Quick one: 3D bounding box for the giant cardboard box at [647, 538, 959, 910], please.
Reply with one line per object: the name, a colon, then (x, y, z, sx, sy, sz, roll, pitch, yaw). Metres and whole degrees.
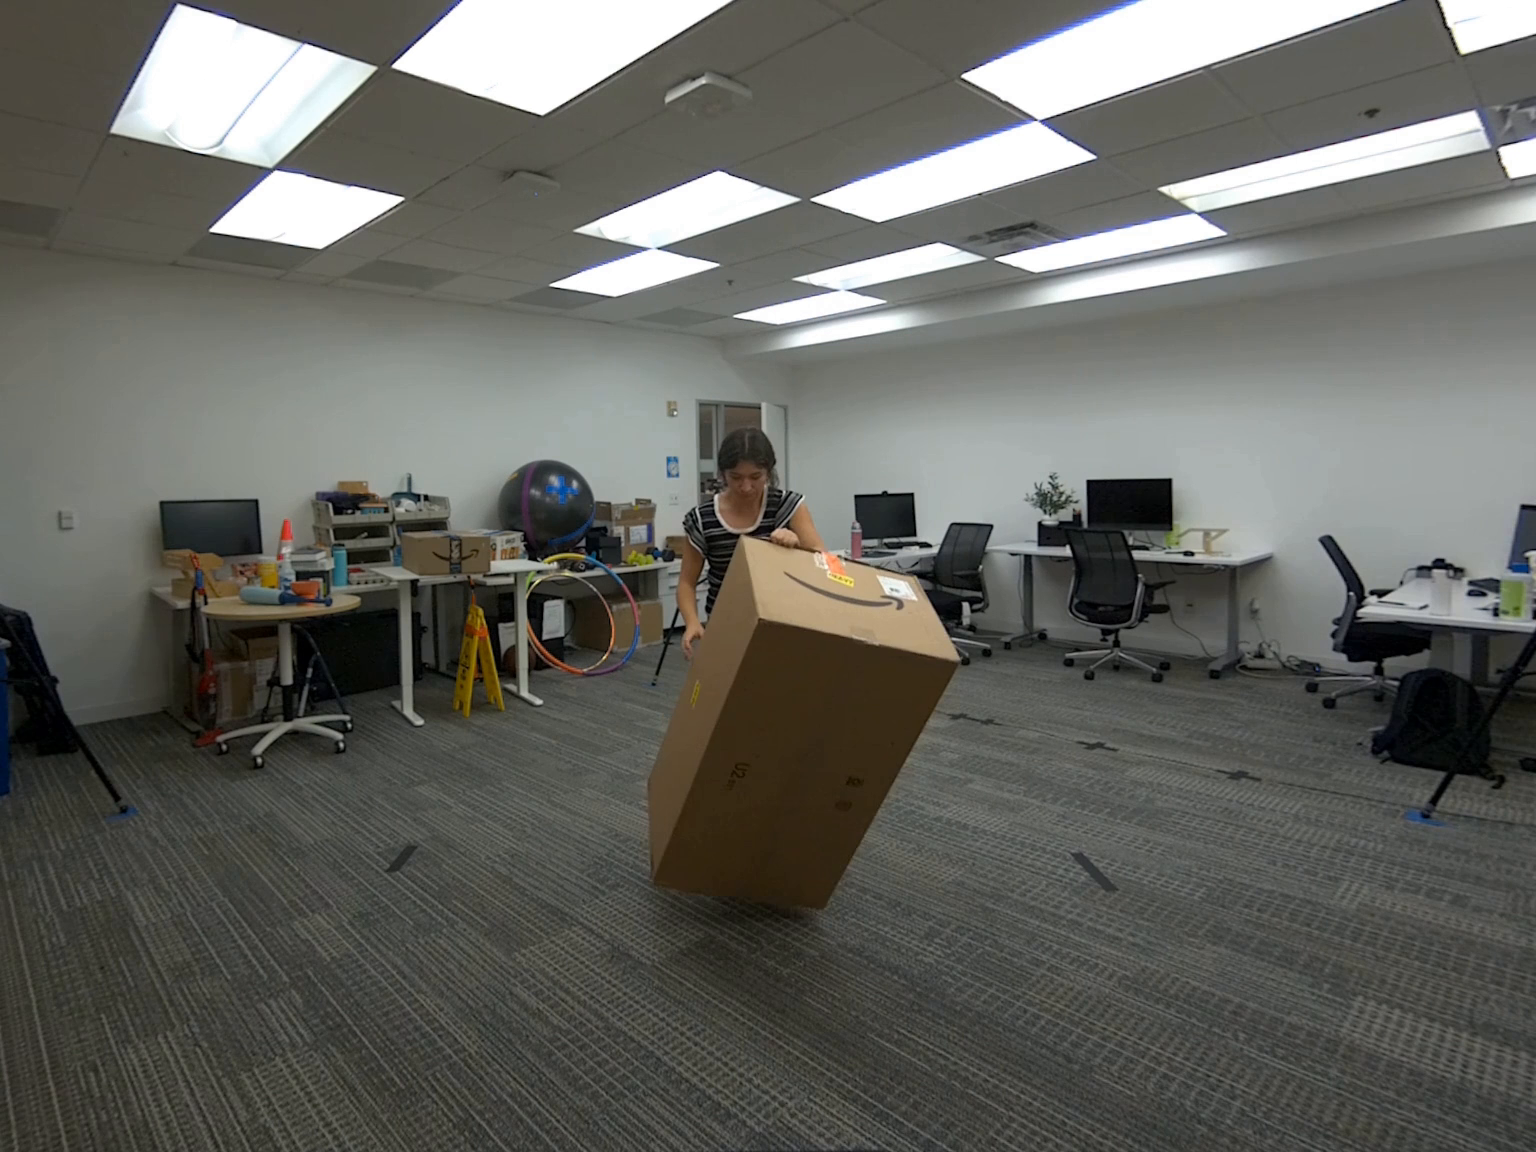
giant cardboard box: (0.046, 0.462, 2.584, 0.569, 1.013, 0.437, 14, 26, -13)
